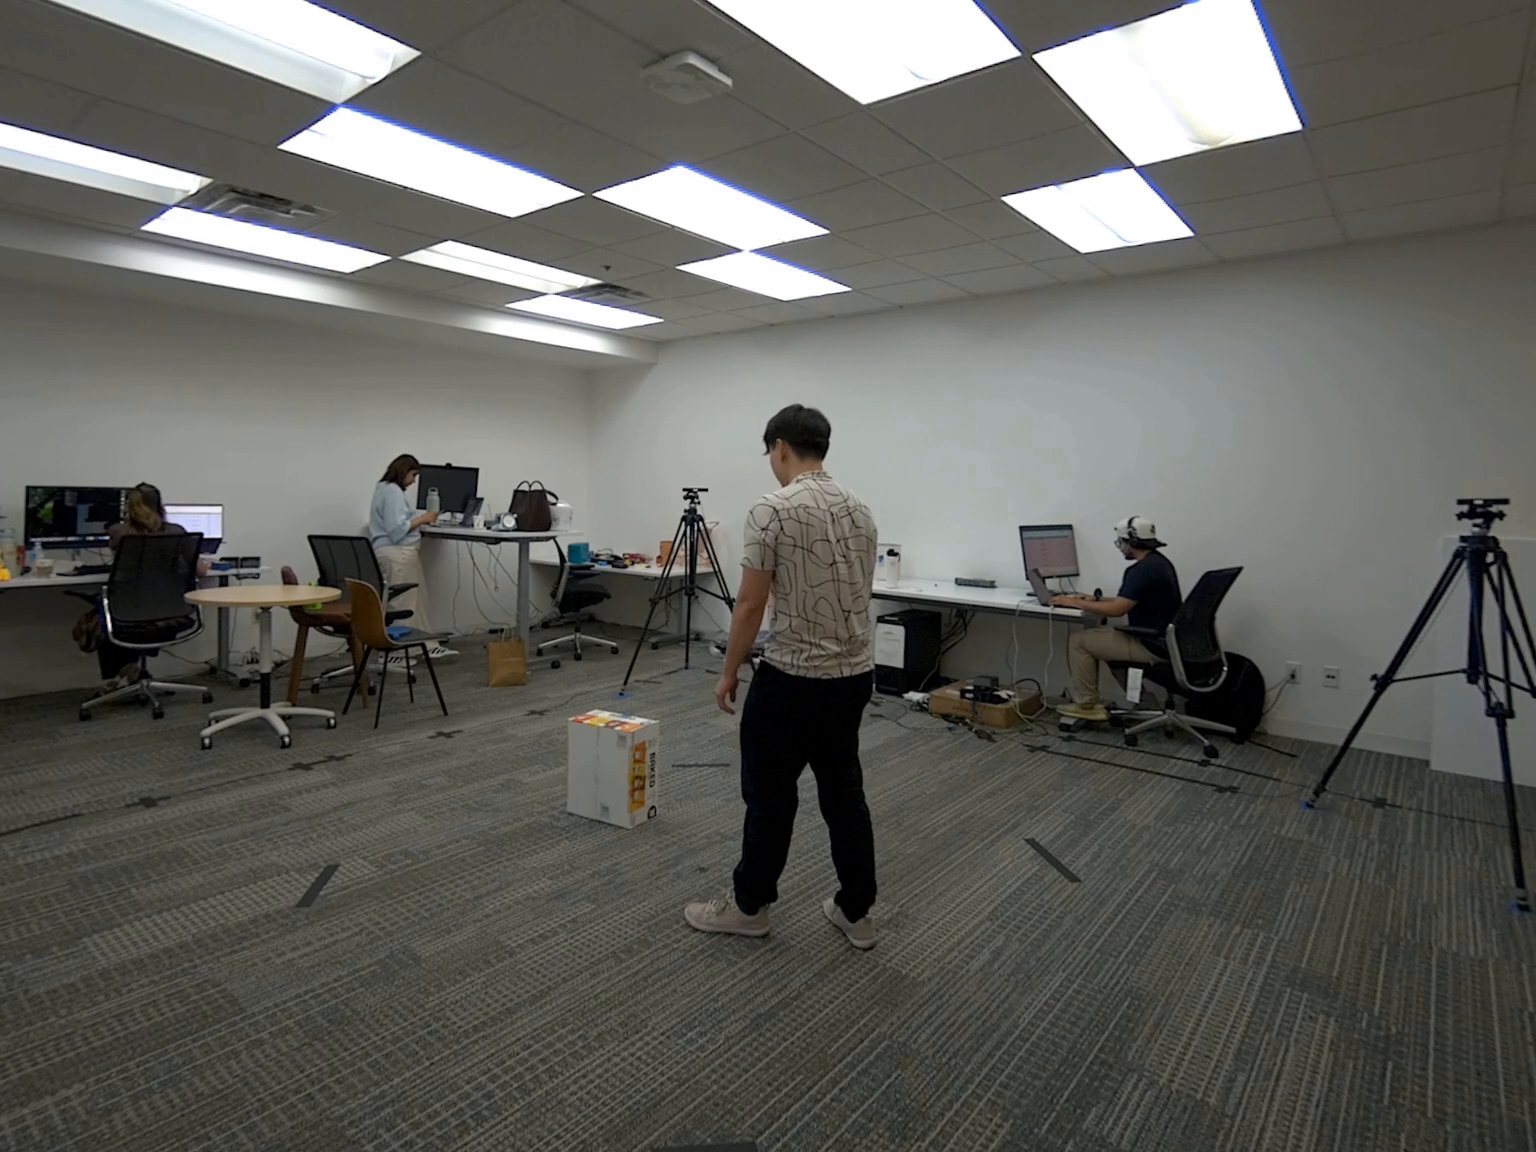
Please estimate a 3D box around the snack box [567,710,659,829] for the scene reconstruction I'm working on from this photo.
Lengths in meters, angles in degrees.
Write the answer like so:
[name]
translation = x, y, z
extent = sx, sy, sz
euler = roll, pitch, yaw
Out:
[snack box]
translation = -0.676, 0.809, 3.620
extent = 0.350, 0.404, 0.200
euler = 4, 4, 30
